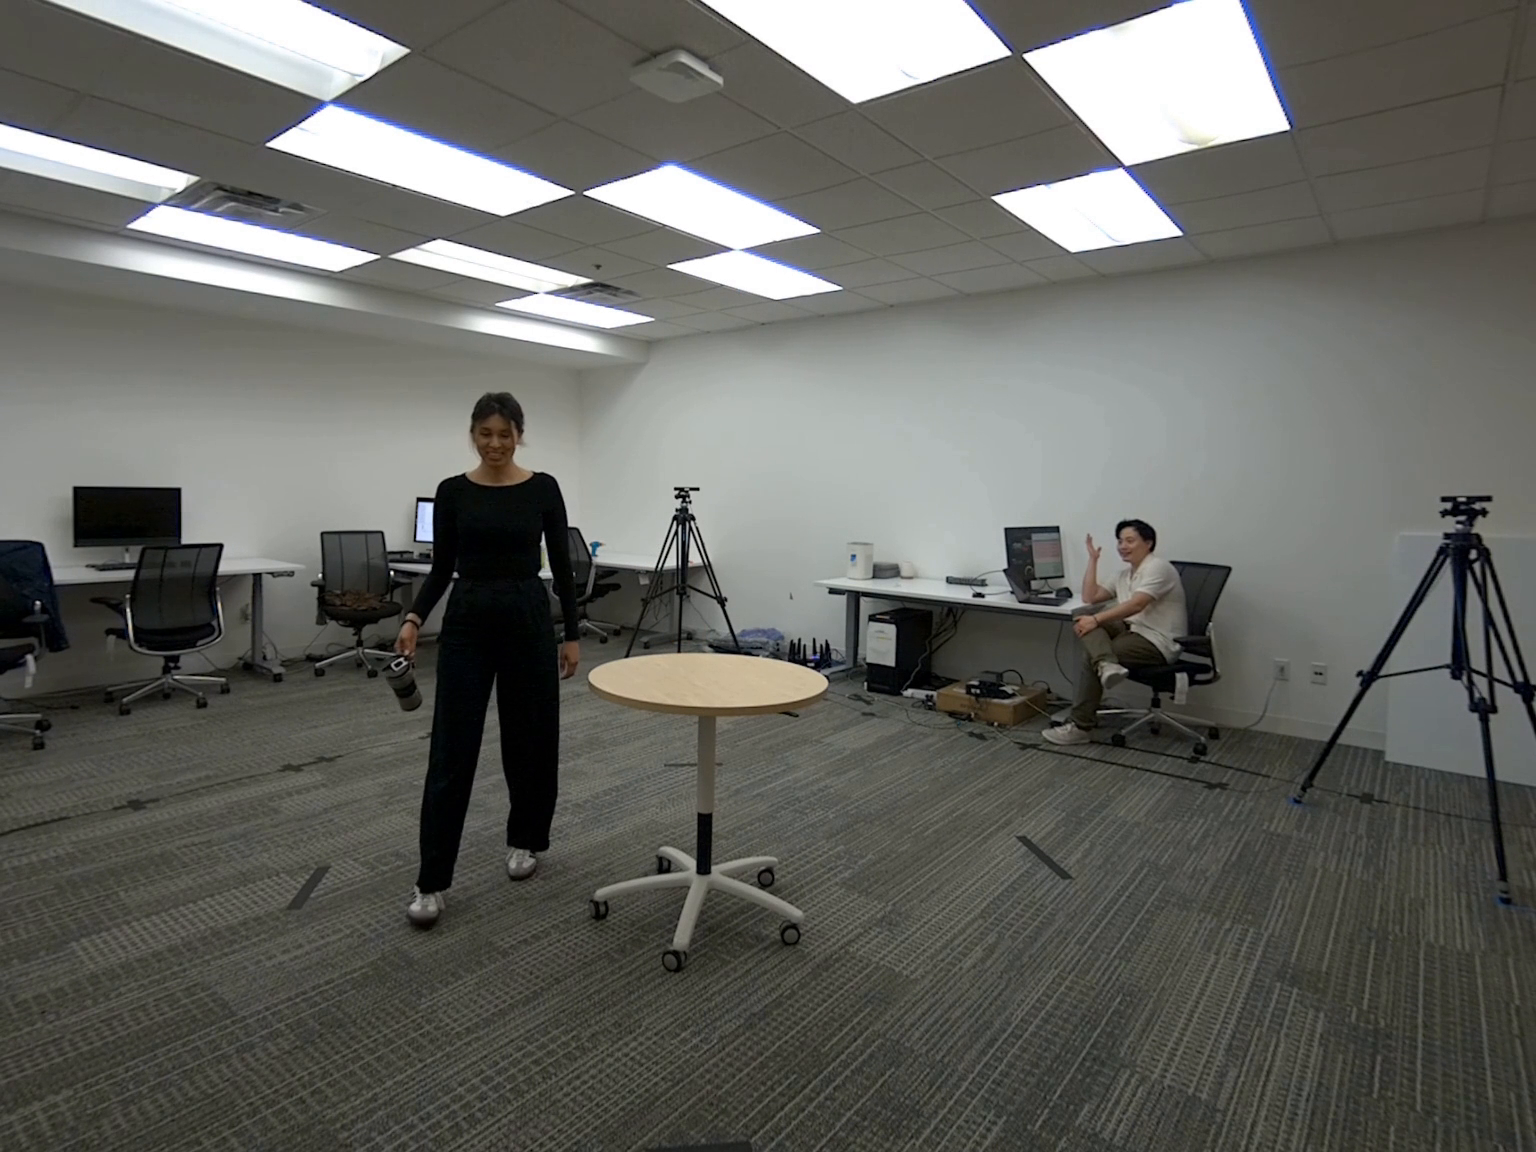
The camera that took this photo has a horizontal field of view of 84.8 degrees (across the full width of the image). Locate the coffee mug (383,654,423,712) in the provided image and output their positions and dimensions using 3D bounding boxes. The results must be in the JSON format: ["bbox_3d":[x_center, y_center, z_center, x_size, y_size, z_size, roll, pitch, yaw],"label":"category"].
[{"bbox_3d":[-1.178,0.335,2.746,0.090,0.197,0.122,21,49,23],"label":"coffee mug"}]
